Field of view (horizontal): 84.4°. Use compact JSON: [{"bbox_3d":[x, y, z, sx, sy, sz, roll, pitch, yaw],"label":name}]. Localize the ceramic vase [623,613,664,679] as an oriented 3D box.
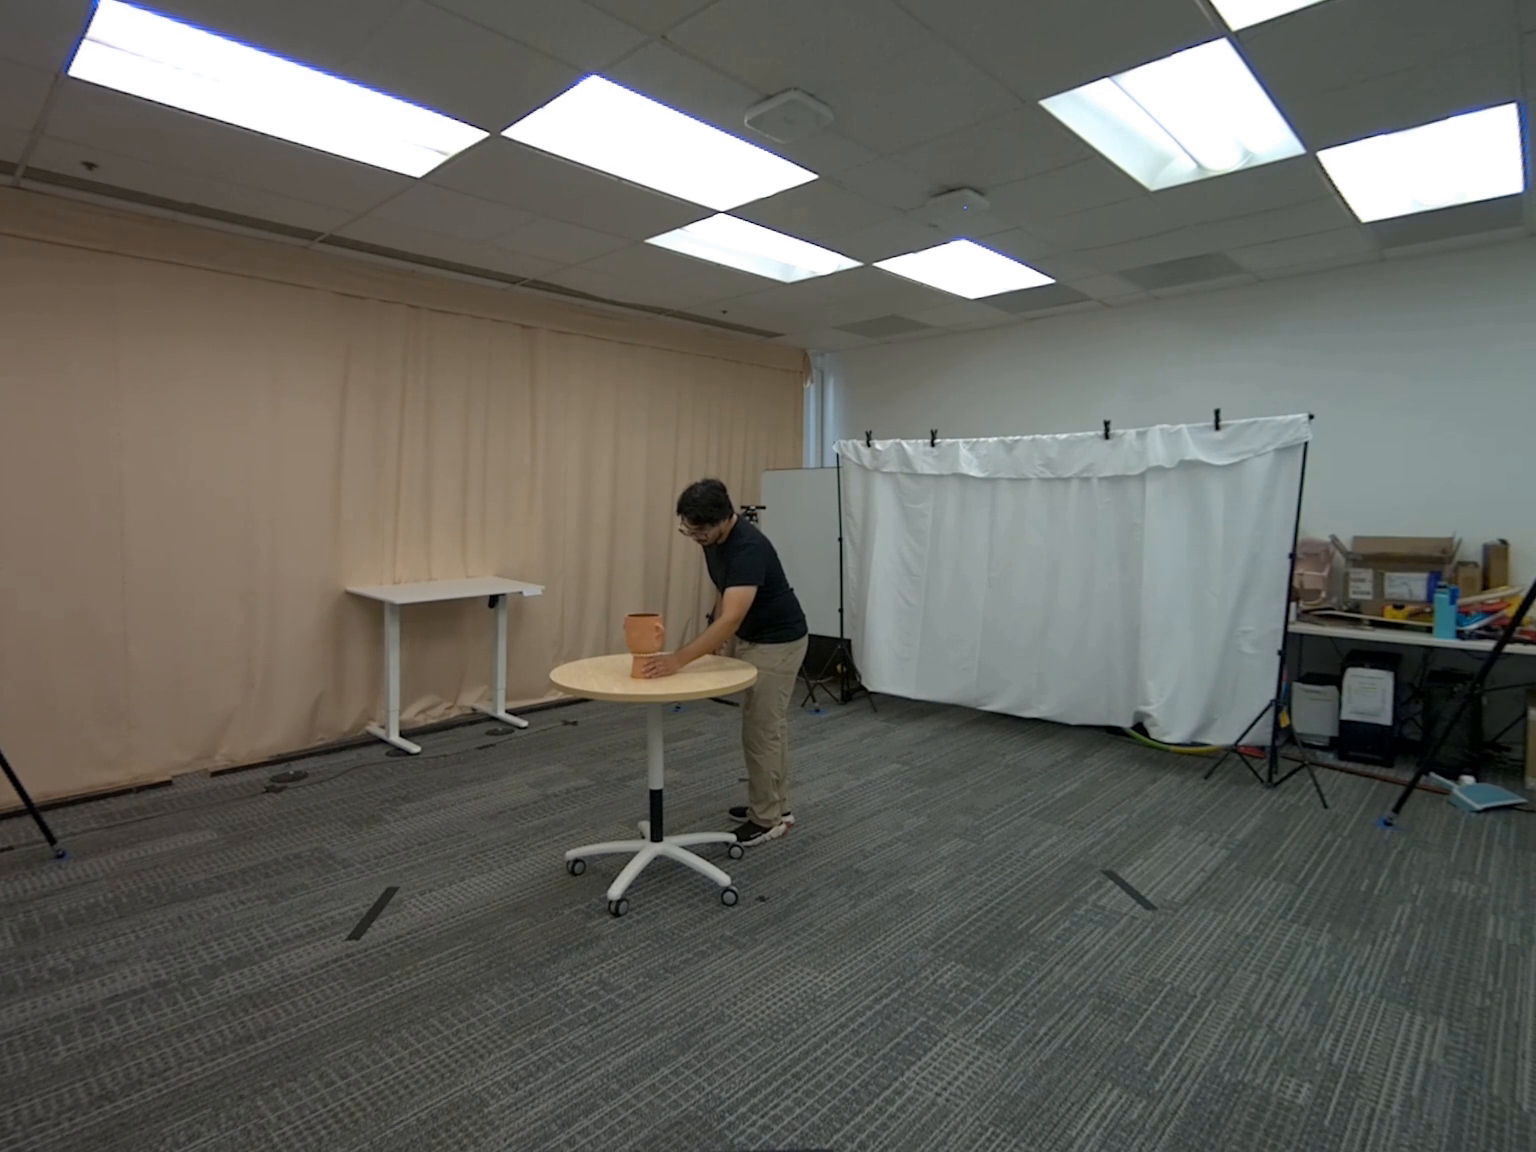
[{"bbox_3d":[-0.445,0.252,3.028,0.133,0.219,0.161,-1,3,-14],"label":"ceramic vase"}]
